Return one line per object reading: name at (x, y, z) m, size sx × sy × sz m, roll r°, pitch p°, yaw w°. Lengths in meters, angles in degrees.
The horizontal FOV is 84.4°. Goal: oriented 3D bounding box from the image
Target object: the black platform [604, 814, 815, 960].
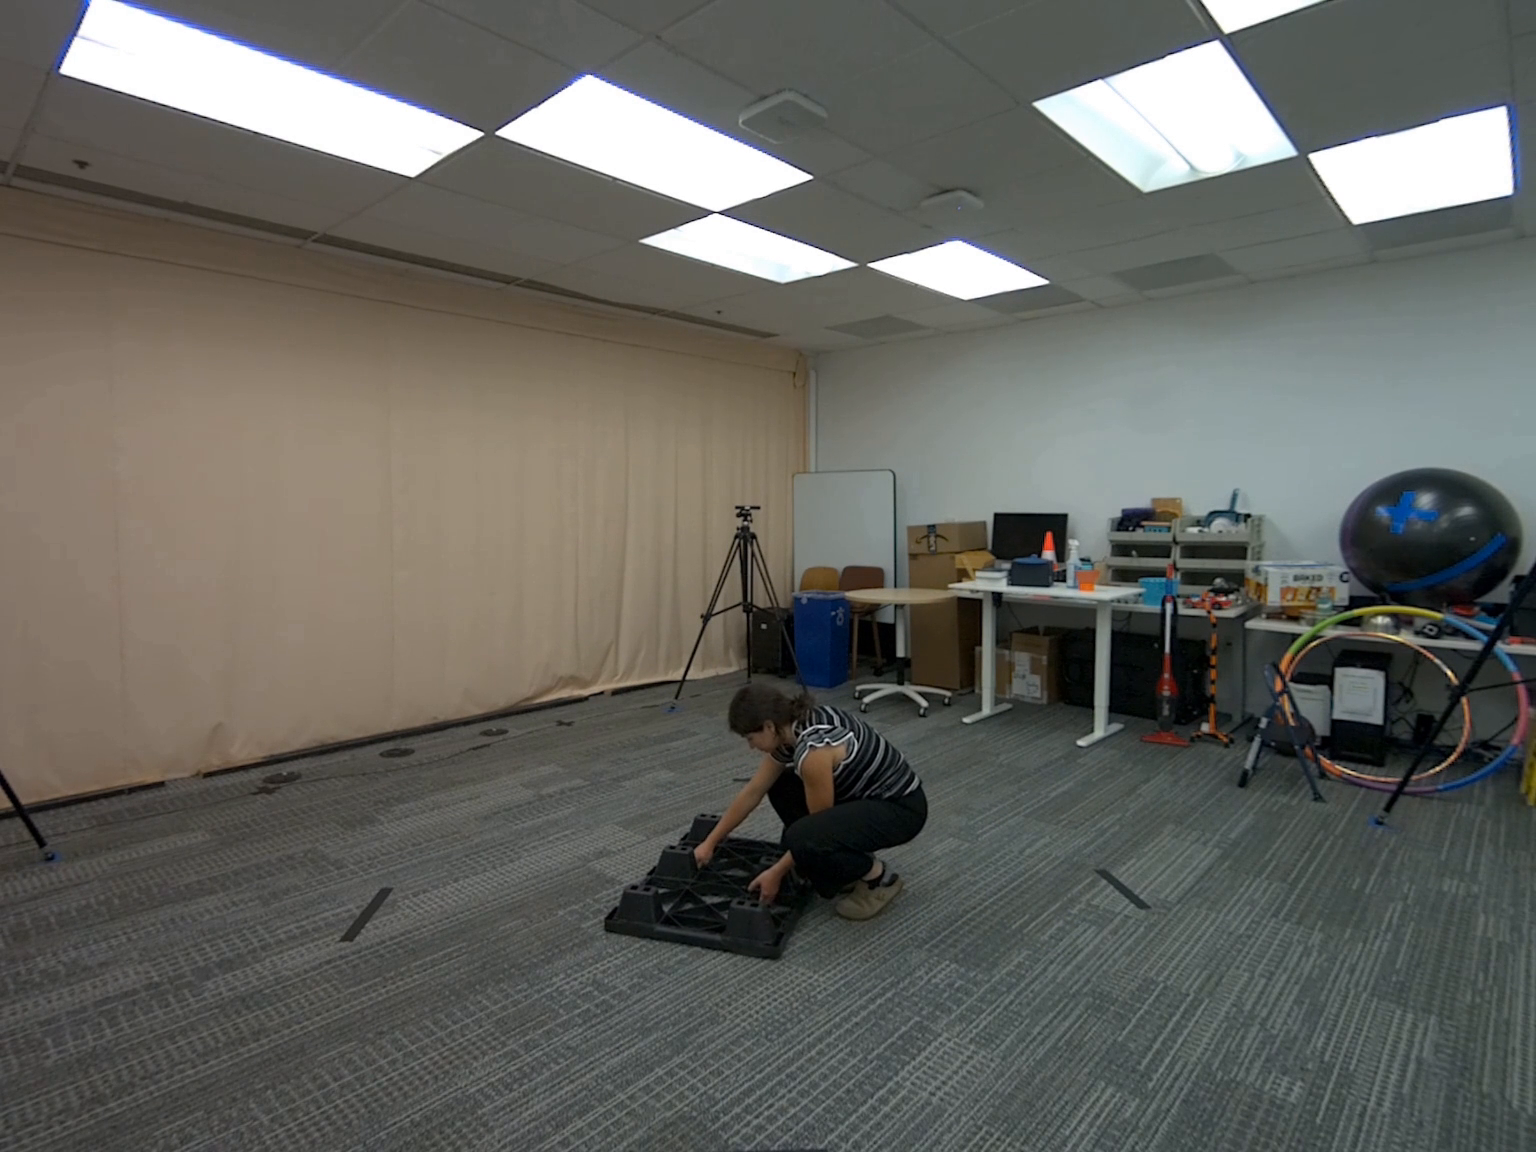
black platform at (-0.148, 1.073, 3.033) m, size 0.616 × 0.143 × 0.793 m, roll 0°, pitch 5°, yaw 16°
